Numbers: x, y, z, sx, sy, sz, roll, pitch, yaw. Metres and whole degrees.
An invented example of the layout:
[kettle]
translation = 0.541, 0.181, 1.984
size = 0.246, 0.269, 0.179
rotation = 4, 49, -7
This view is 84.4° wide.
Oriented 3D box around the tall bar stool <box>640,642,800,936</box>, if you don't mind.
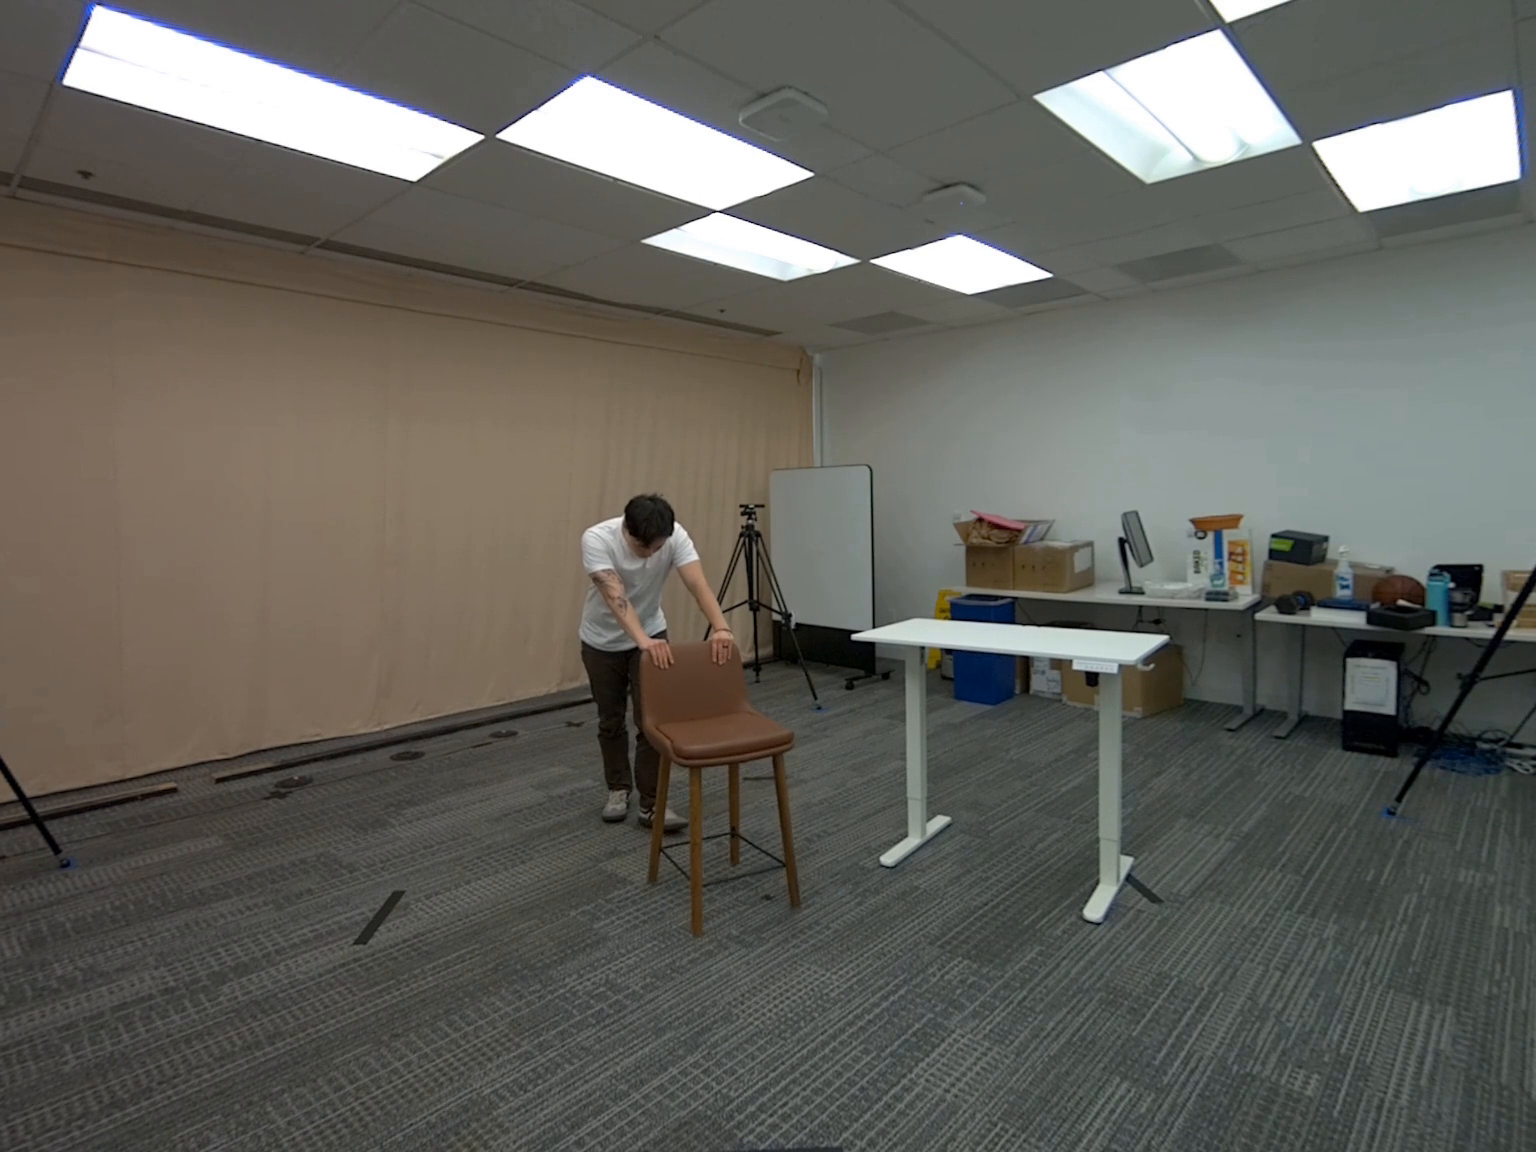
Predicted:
[tall bar stool]
translation = -0.179, 0.707, 2.994
size = 0.445, 0.889, 0.480
rotation = -2, 2, -29
